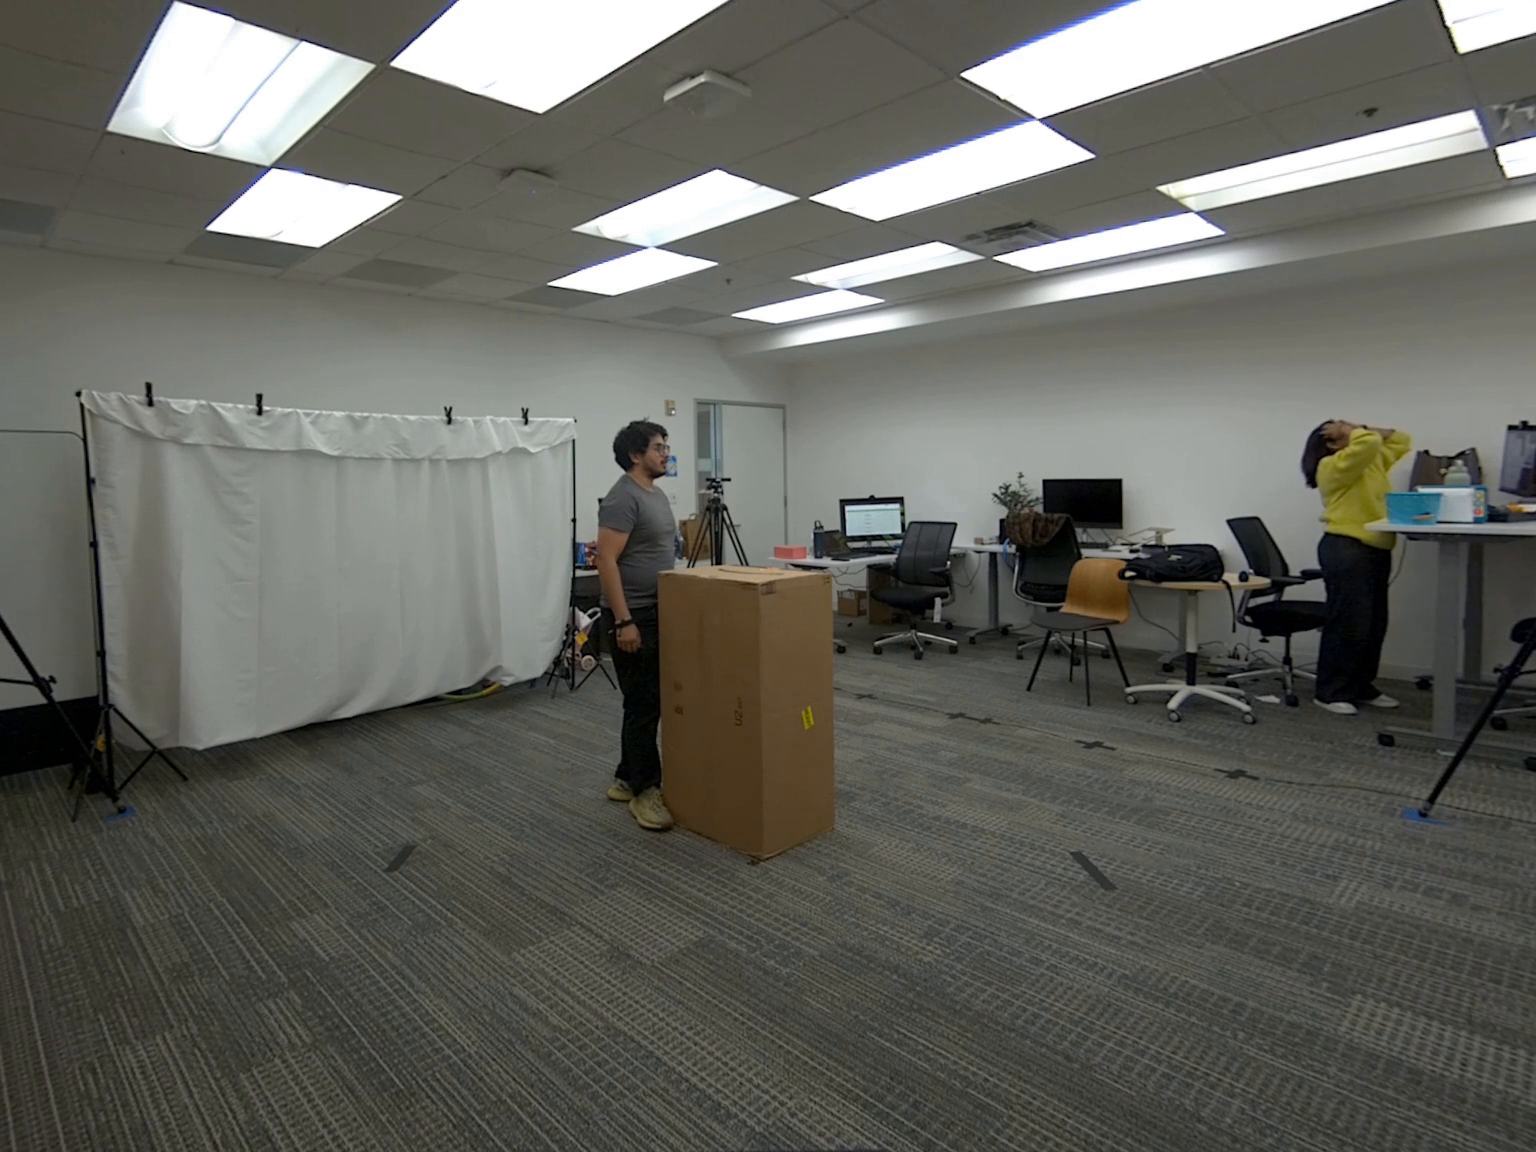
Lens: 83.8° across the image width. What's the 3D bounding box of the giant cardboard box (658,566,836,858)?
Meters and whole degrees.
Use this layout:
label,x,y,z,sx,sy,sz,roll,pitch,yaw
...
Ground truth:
label,x,y,z,sx,sy,sz,roll,pitch,yaw
giant cardboard box,-0.085,0.500,3.434,0.602,1.023,0.435,3,6,44
